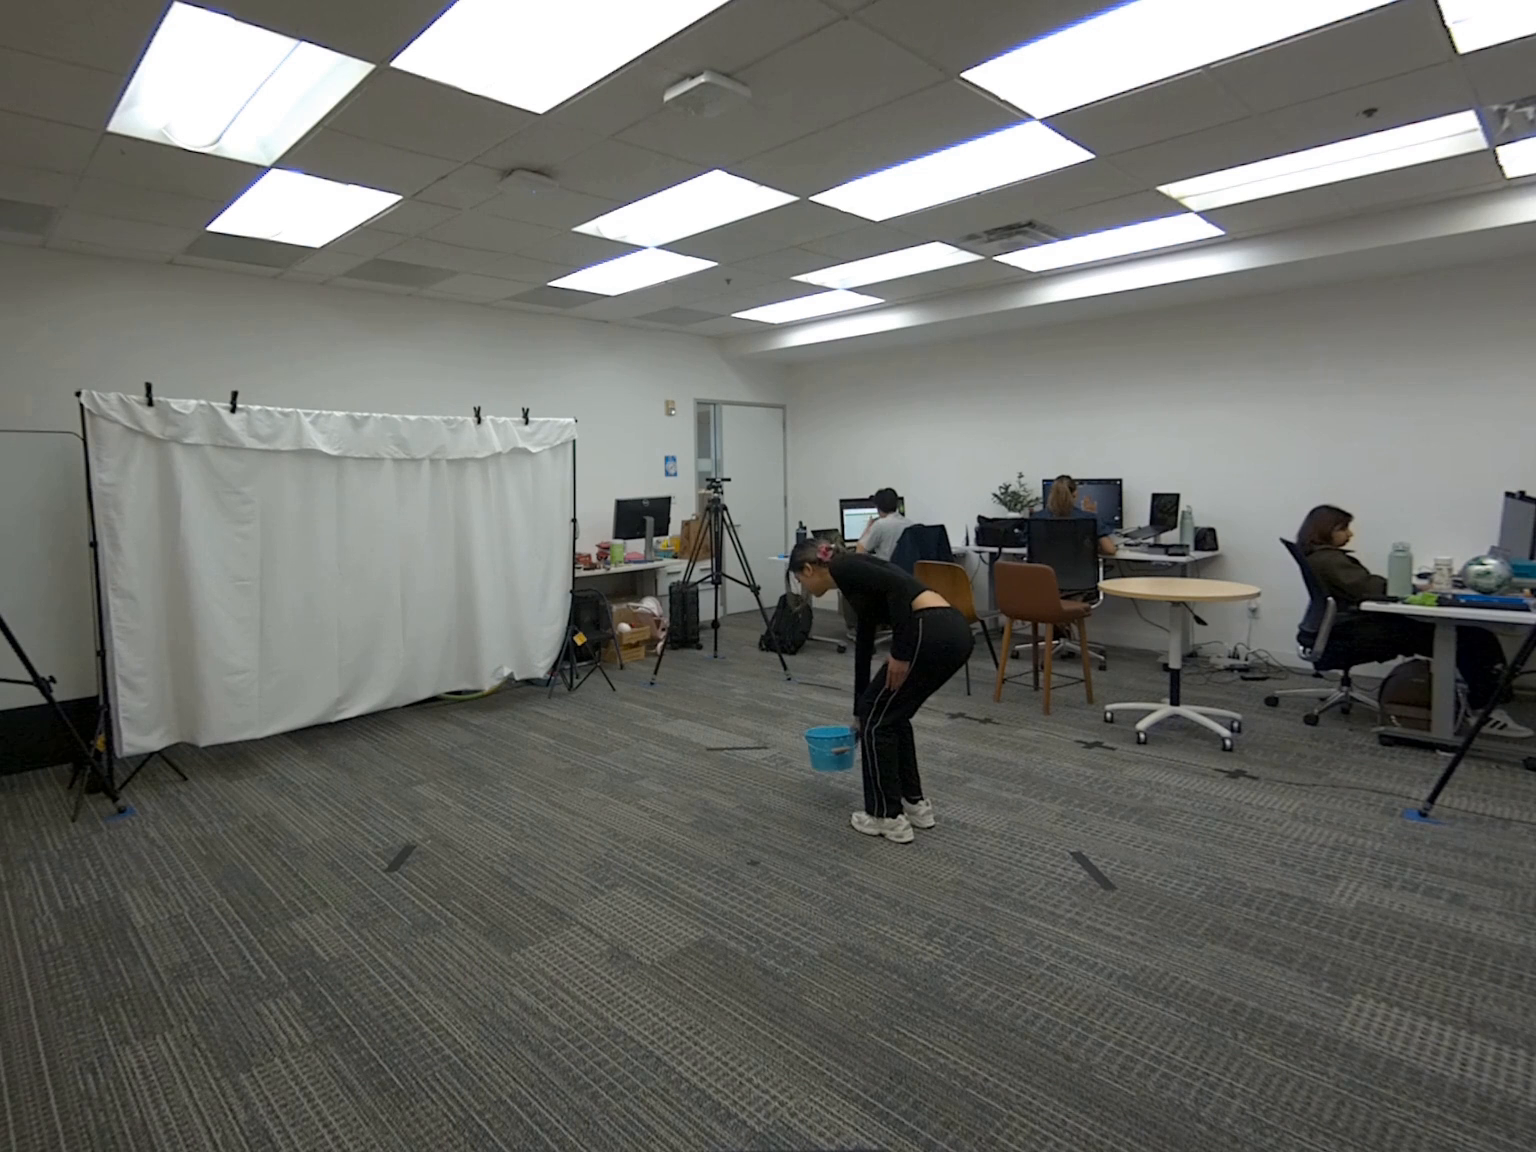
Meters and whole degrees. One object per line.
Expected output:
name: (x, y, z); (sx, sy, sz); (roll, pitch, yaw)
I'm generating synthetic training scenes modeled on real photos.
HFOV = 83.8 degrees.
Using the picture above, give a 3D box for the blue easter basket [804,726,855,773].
blue easter basket: (0.290, 0.744, 3.705); (0.243, 0.156, 0.244); (-4, 1, -2)
